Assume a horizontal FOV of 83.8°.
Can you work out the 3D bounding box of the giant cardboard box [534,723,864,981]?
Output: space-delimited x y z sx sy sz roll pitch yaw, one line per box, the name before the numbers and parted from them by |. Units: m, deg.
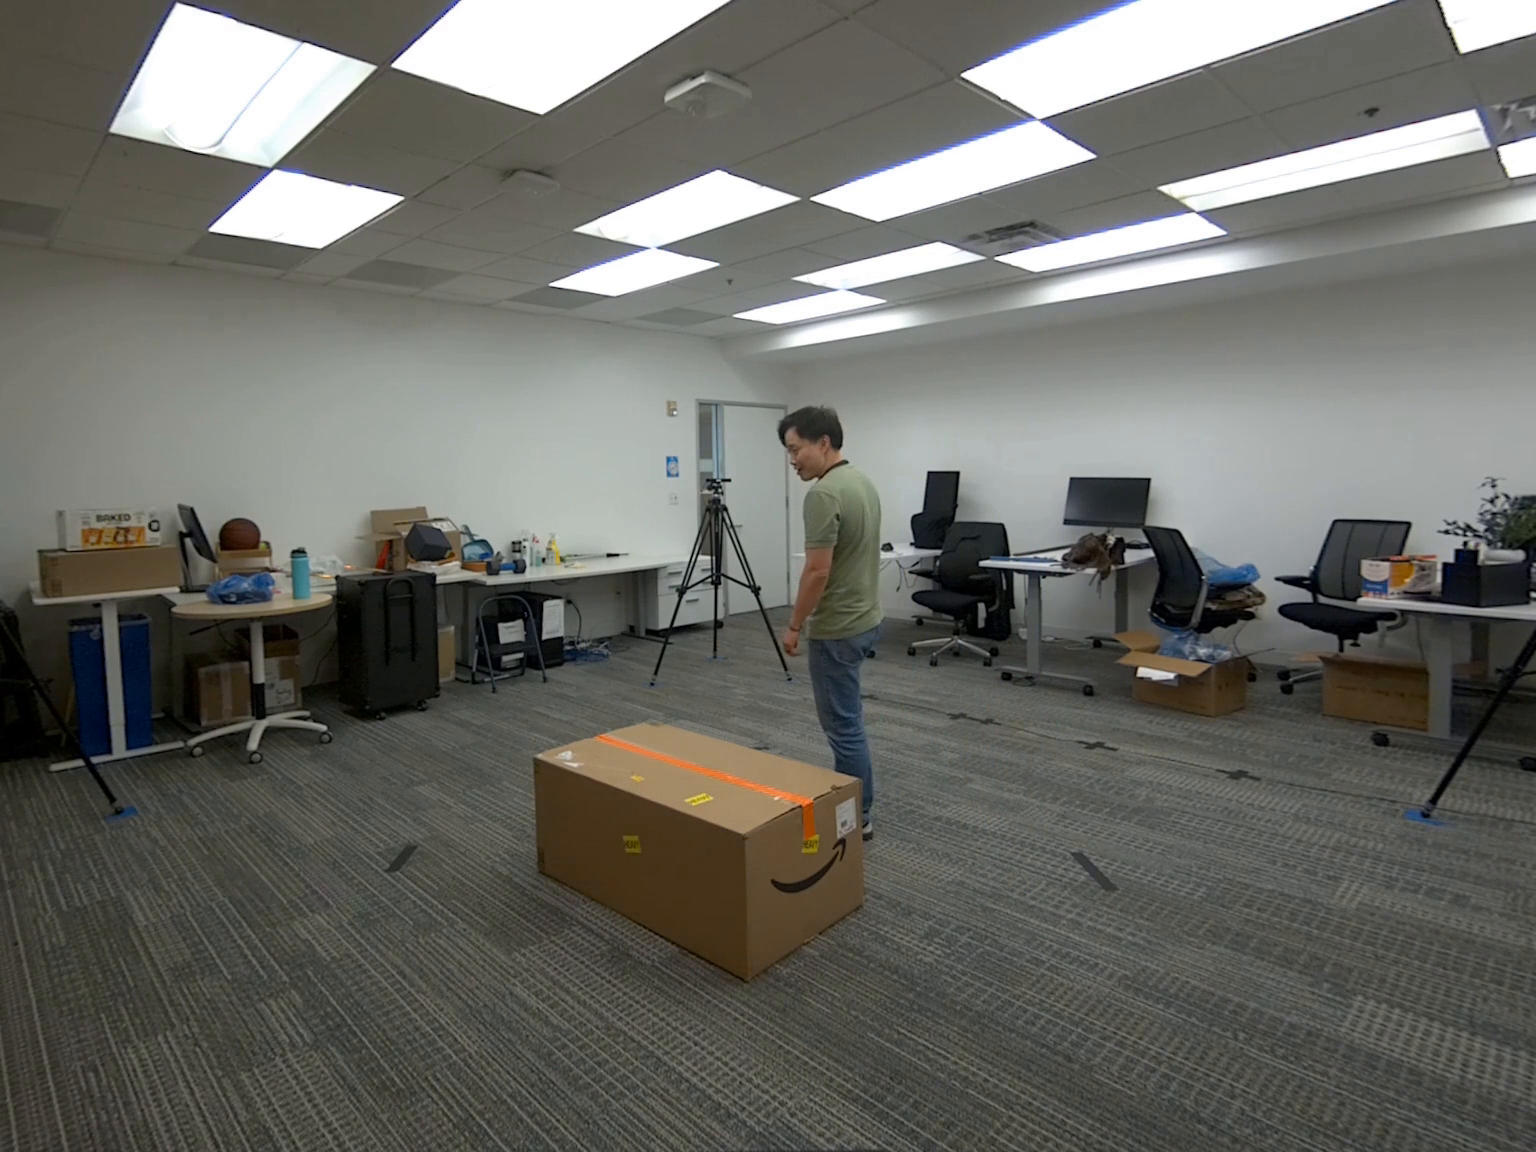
giant cardboard box | -0.264 0.855 2.917 1.057 0.424 0.563 5 9 42
